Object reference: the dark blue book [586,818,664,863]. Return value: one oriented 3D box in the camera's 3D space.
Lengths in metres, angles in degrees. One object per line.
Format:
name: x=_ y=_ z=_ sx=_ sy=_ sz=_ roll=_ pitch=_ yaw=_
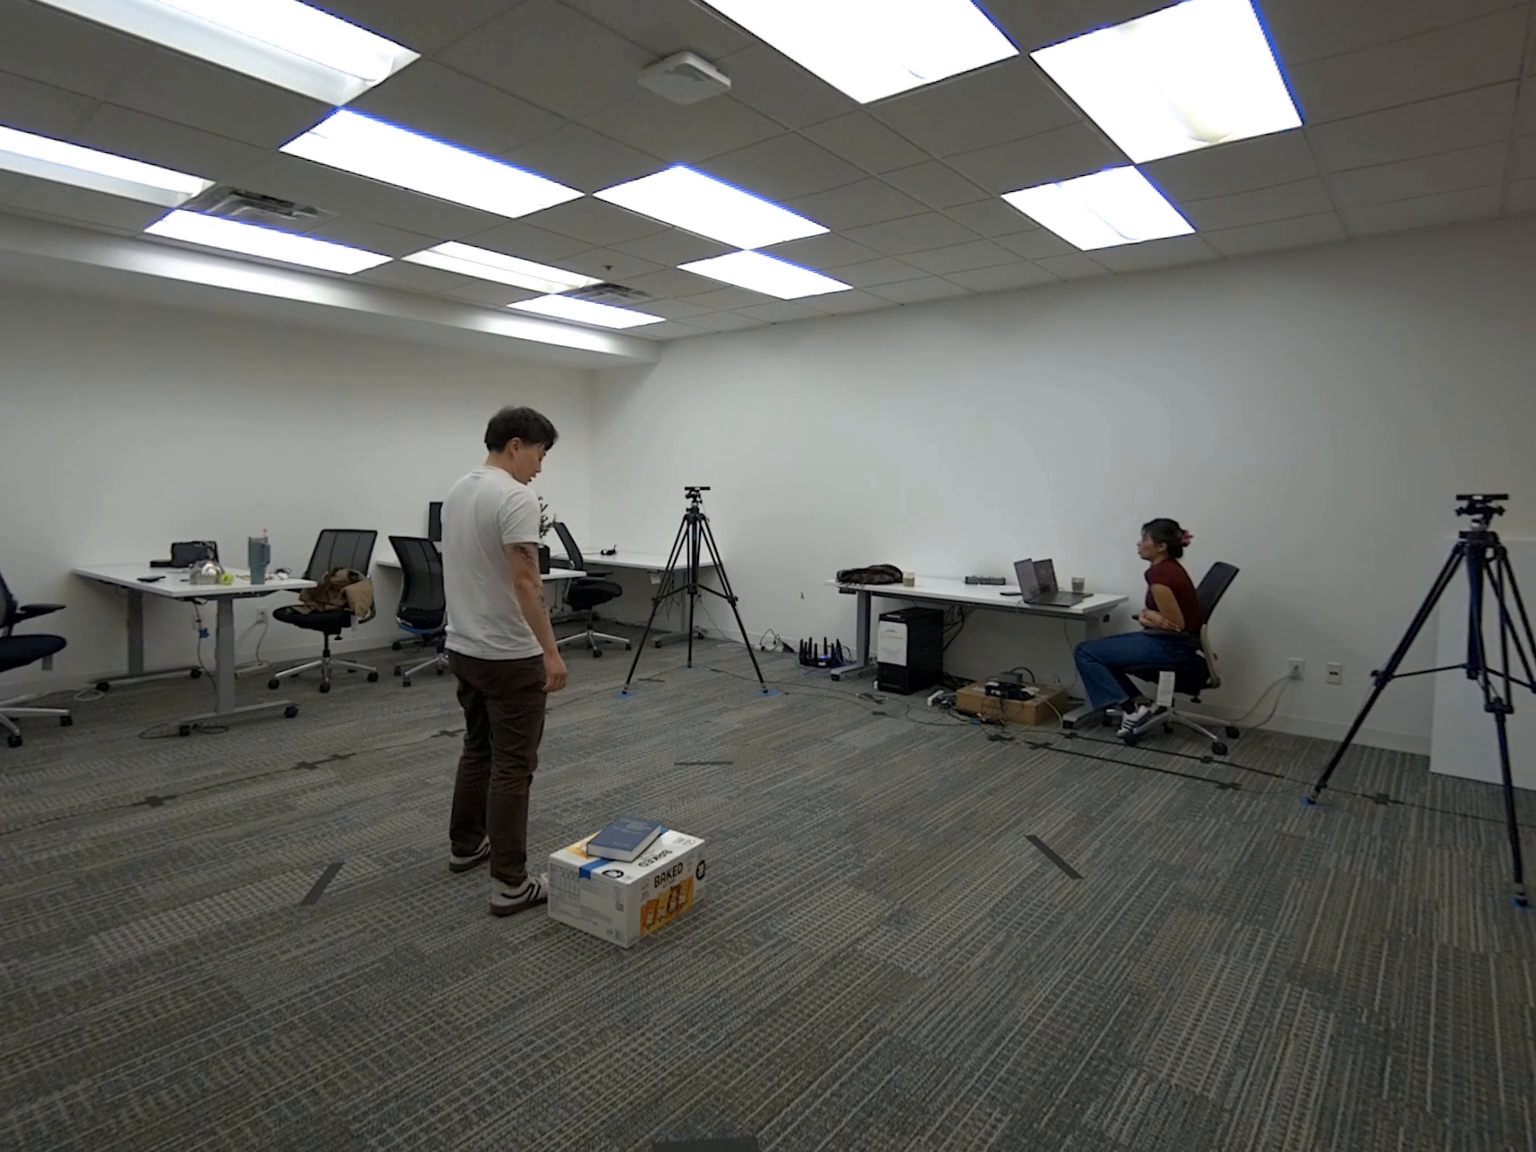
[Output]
dark blue book: x=-0.492 y=0.877 z=2.825 sx=0.167 sy=0.045 sz=0.241 roll=4 pitch=7 yaw=17
